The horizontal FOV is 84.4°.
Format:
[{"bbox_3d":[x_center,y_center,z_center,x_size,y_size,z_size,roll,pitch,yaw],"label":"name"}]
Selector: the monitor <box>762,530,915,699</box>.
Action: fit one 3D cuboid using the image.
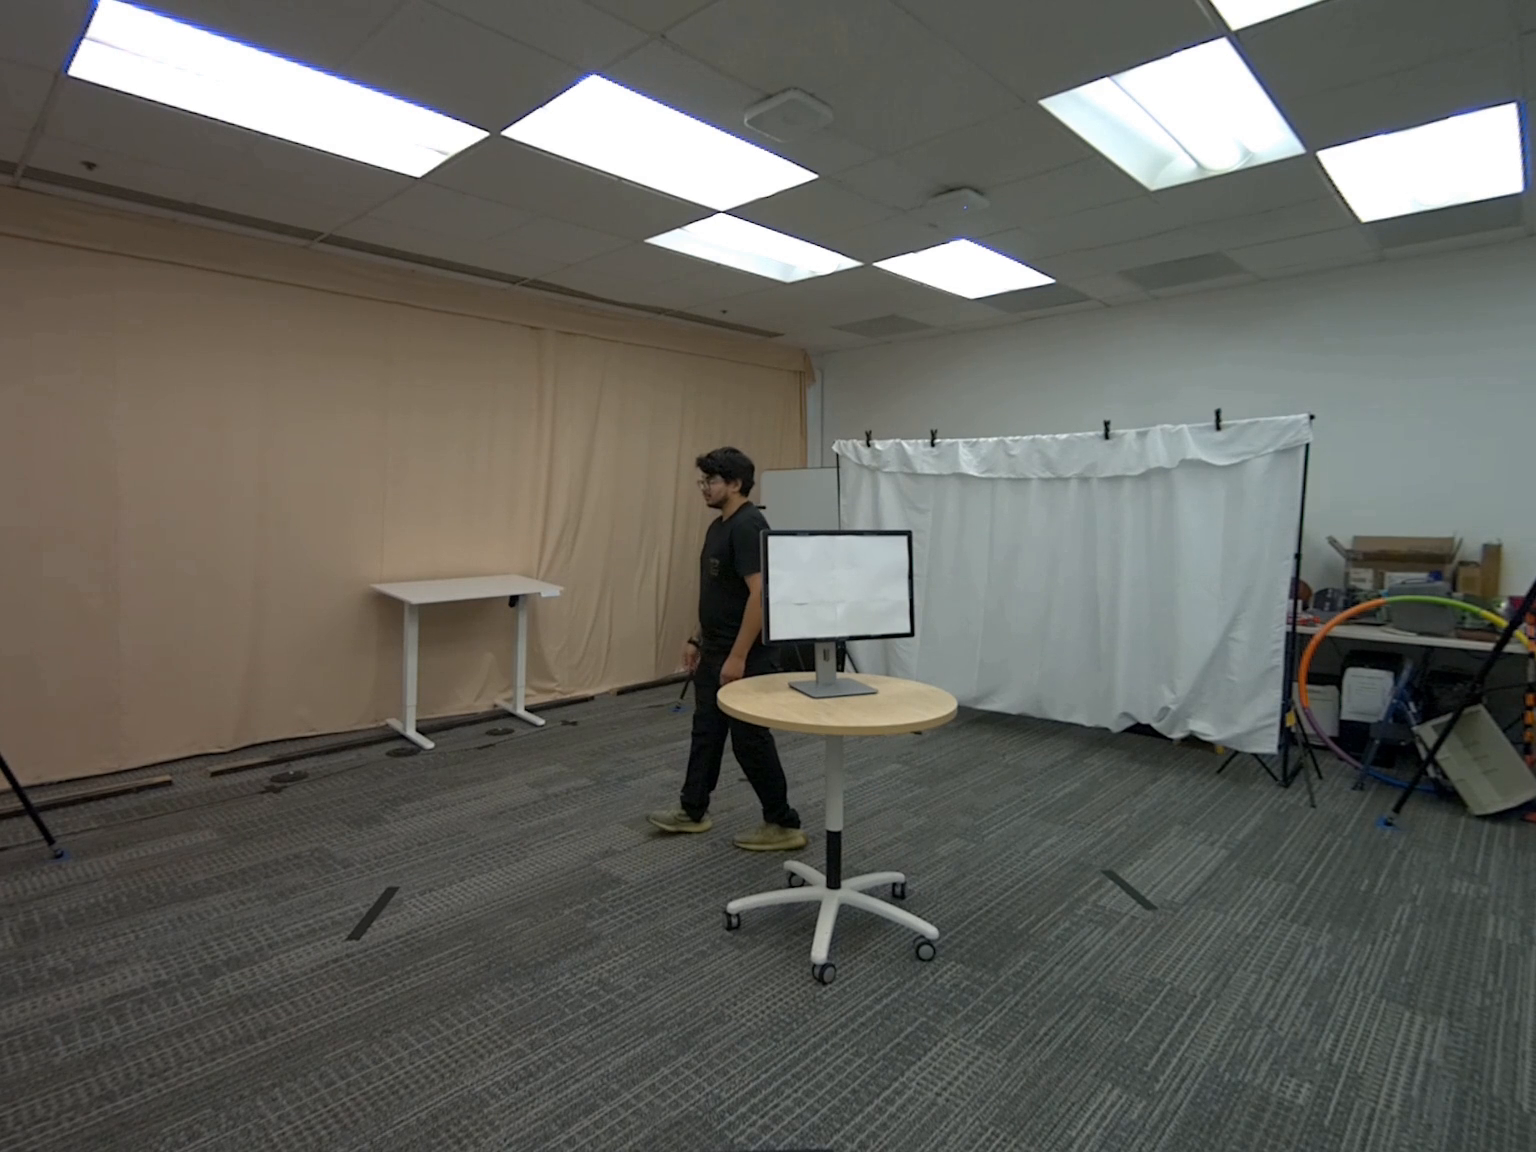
[{"bbox_3d":[0.214,0.117,2.820,0.553,0.554,0.215,-1,1,-22],"label":"monitor"}]
